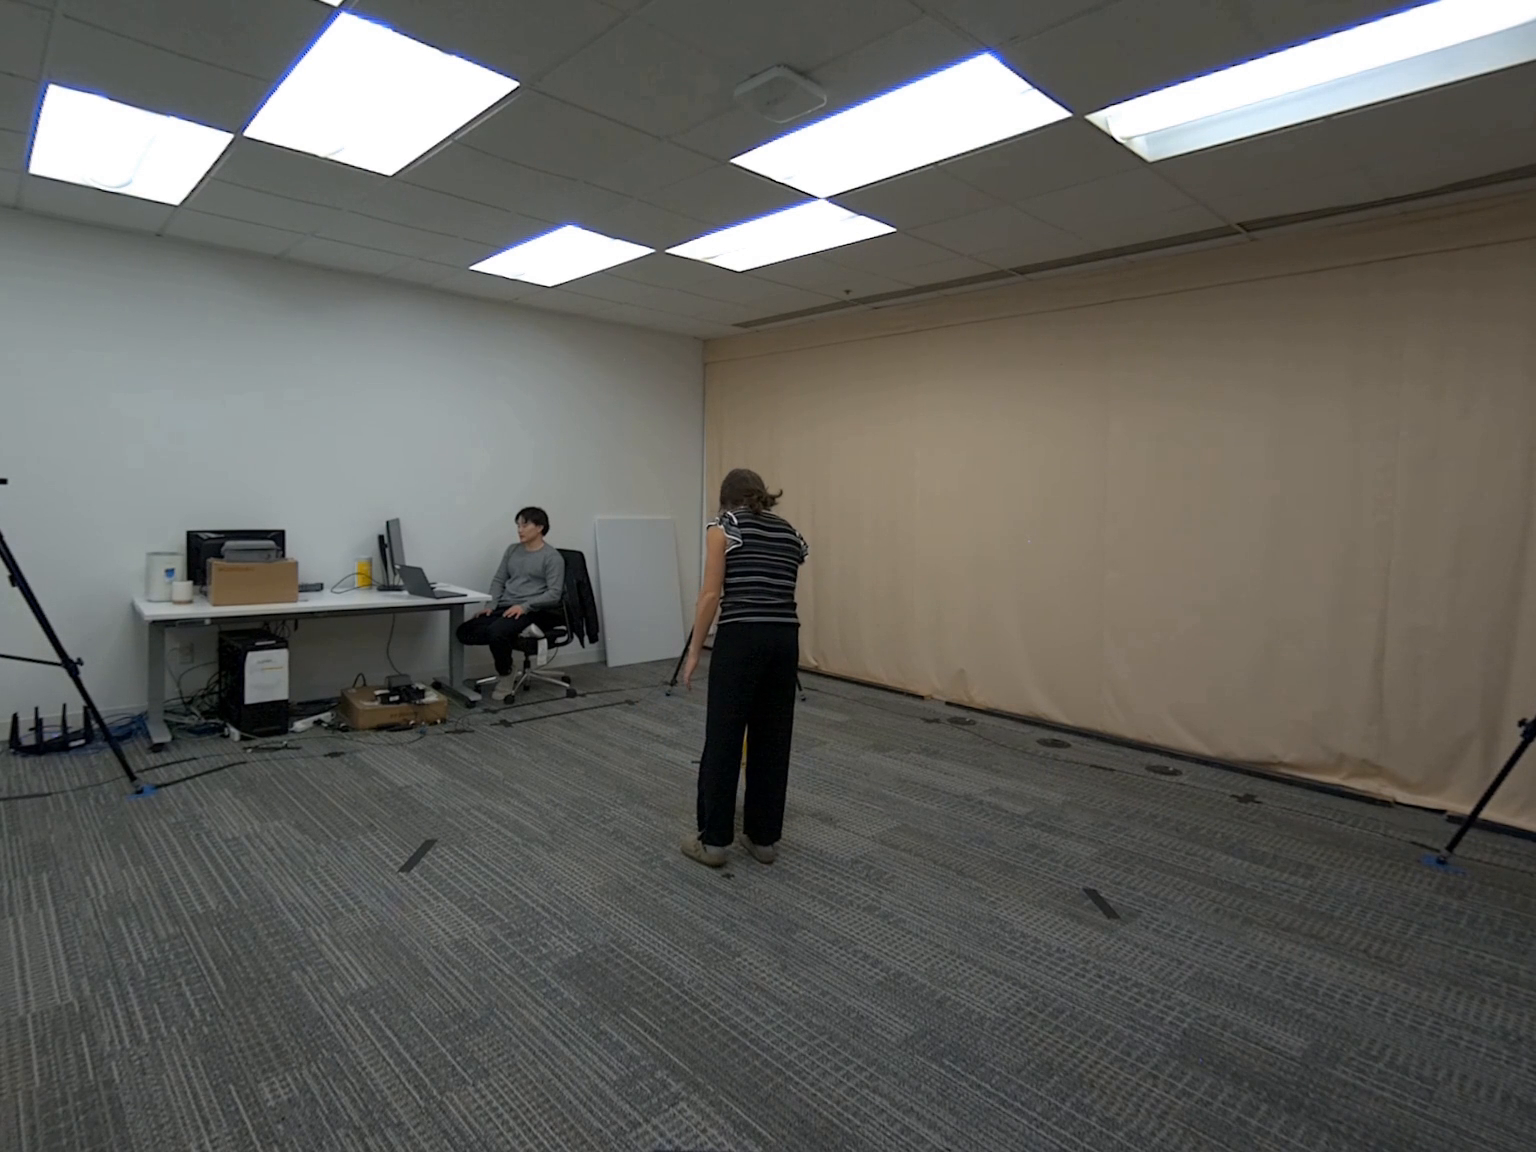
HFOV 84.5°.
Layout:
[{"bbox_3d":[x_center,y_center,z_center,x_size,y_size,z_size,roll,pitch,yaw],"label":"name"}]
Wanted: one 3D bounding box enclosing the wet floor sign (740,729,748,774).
[{"bbox_3d":[-0.120,0.731,3.653,0.285,0.646,0.287,6,1,-20],"label":"wet floor sign"}]
